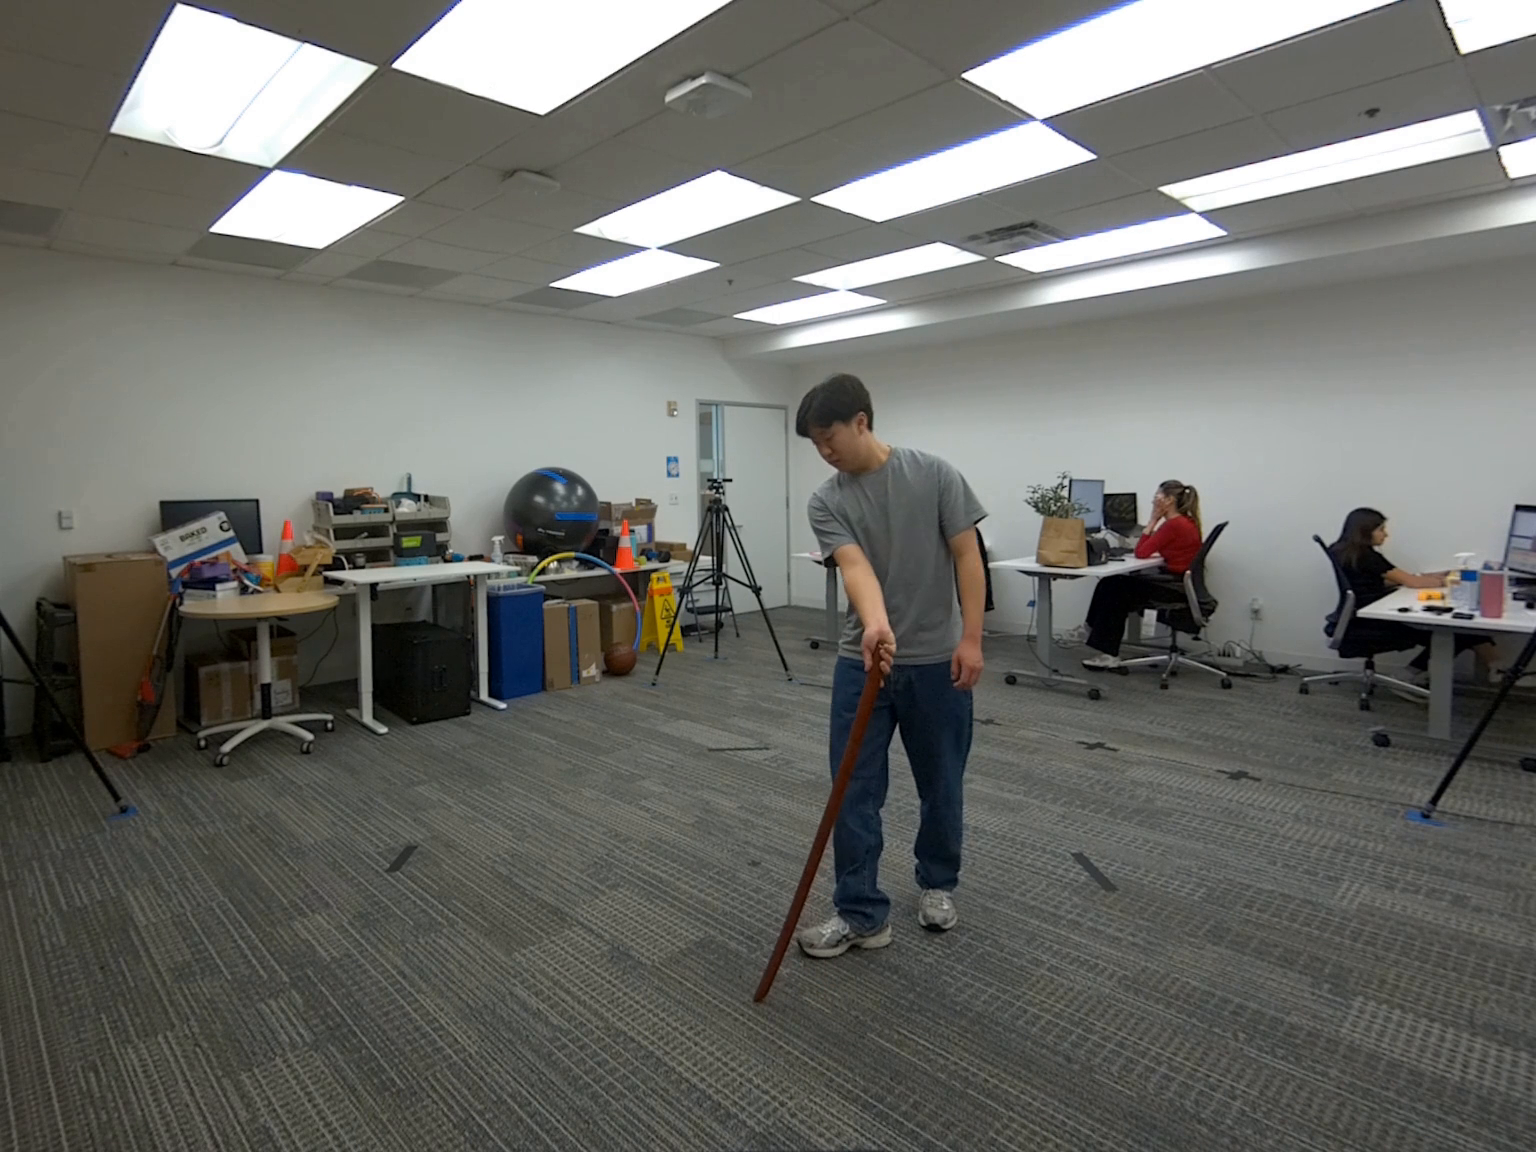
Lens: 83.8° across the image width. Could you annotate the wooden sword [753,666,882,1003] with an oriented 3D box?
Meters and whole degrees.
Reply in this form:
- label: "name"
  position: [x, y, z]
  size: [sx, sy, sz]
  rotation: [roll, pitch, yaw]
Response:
- label: "wooden sword"
  position: [0.142, 0.671, 2.246]
  size: [0.049, 1.022, 0.025]
  rotation: [15, 5, -40]
